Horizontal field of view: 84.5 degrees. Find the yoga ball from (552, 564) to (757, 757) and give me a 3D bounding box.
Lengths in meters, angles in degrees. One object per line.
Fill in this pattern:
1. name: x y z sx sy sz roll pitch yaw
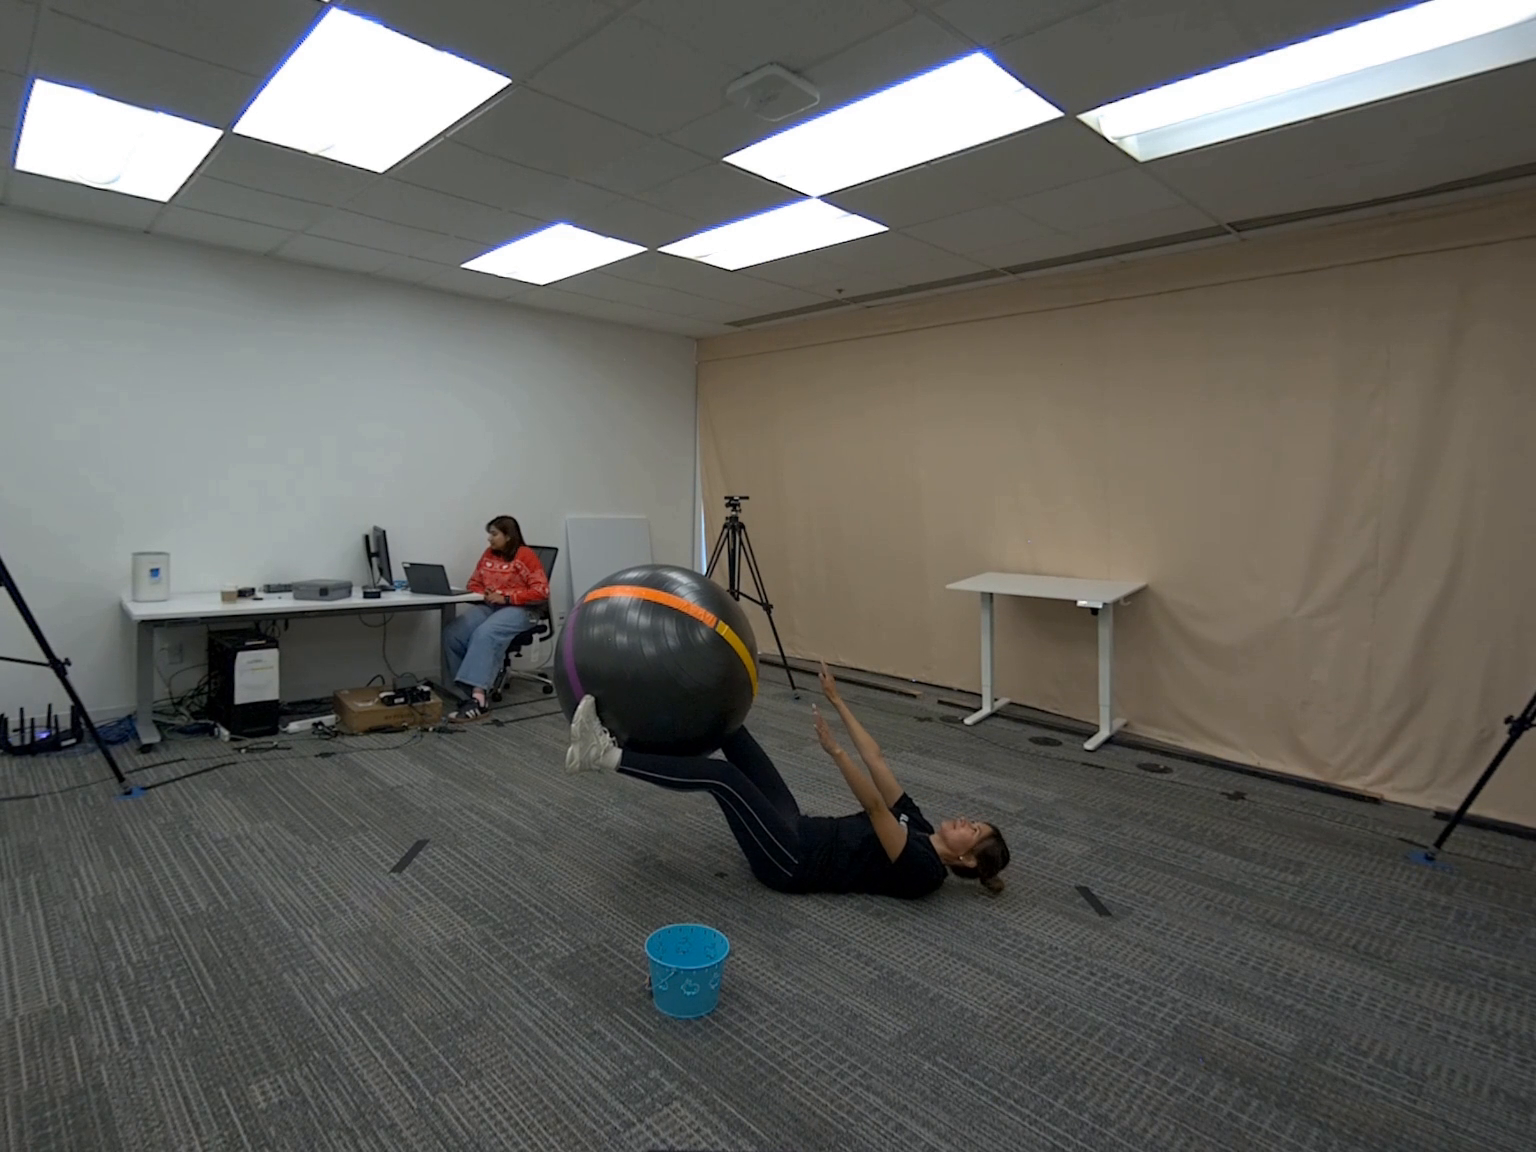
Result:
1. yoga ball: -0.410 0.333 3.127 0.757 0.756 0.761 1 4 -1
